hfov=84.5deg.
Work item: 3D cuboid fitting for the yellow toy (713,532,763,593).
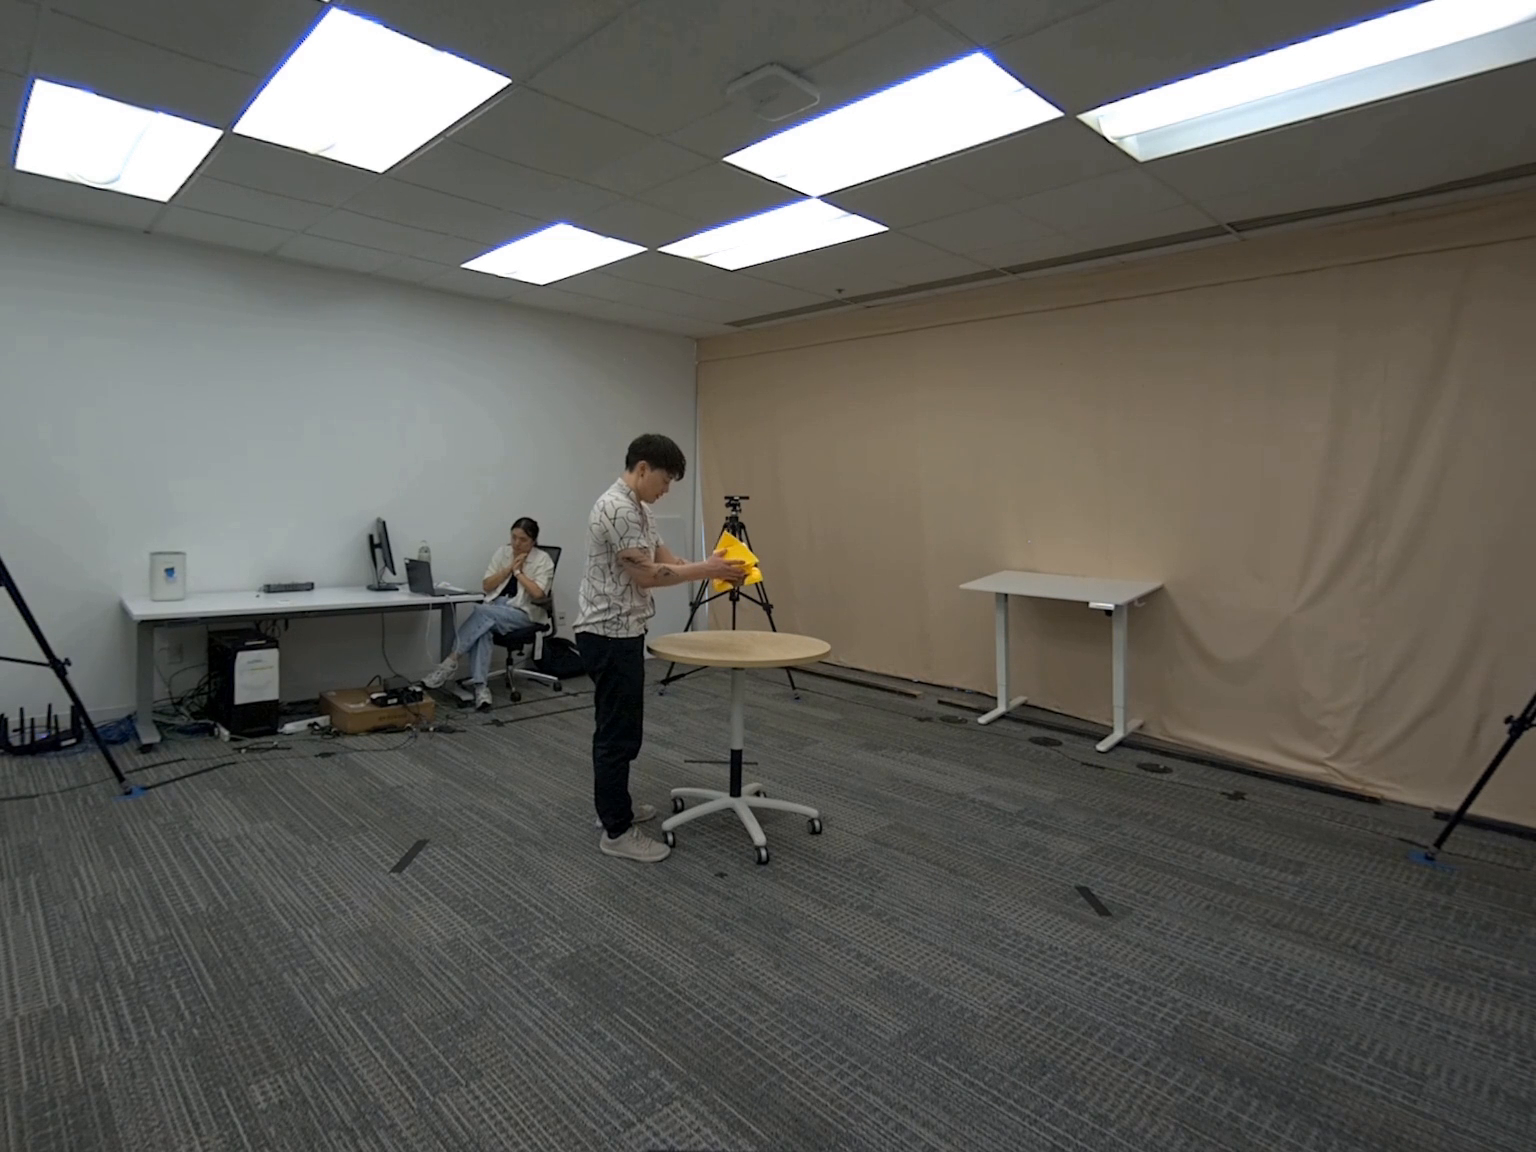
[{"bbox_3d":[-0.155,-0.070,3.412,0.205,0.230,0.193,-14,2,-1],"label":"yellow toy"}]
